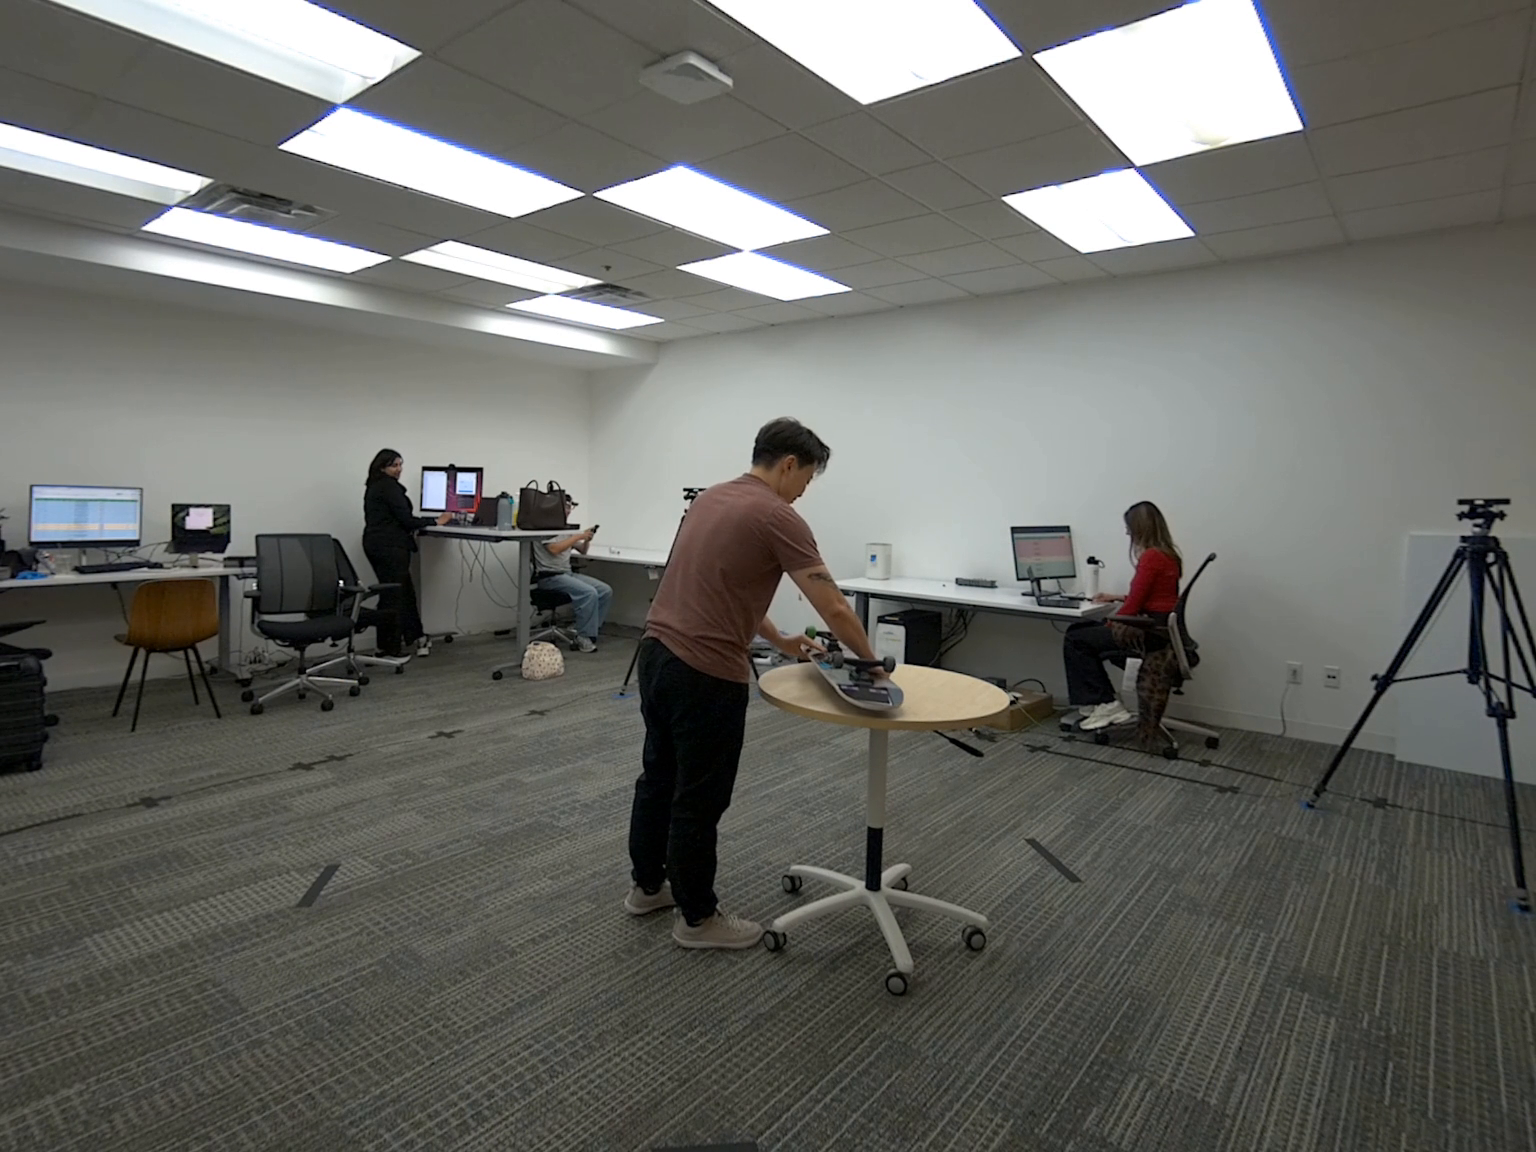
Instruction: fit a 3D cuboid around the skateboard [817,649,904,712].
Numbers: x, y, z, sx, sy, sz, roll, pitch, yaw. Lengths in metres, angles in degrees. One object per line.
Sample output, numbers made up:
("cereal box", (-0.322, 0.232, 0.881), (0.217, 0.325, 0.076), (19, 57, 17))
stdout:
("skateboard", (0.227, 0.256, 2.651), (0.192, 0.110, 0.795), (5, 8, -7))
